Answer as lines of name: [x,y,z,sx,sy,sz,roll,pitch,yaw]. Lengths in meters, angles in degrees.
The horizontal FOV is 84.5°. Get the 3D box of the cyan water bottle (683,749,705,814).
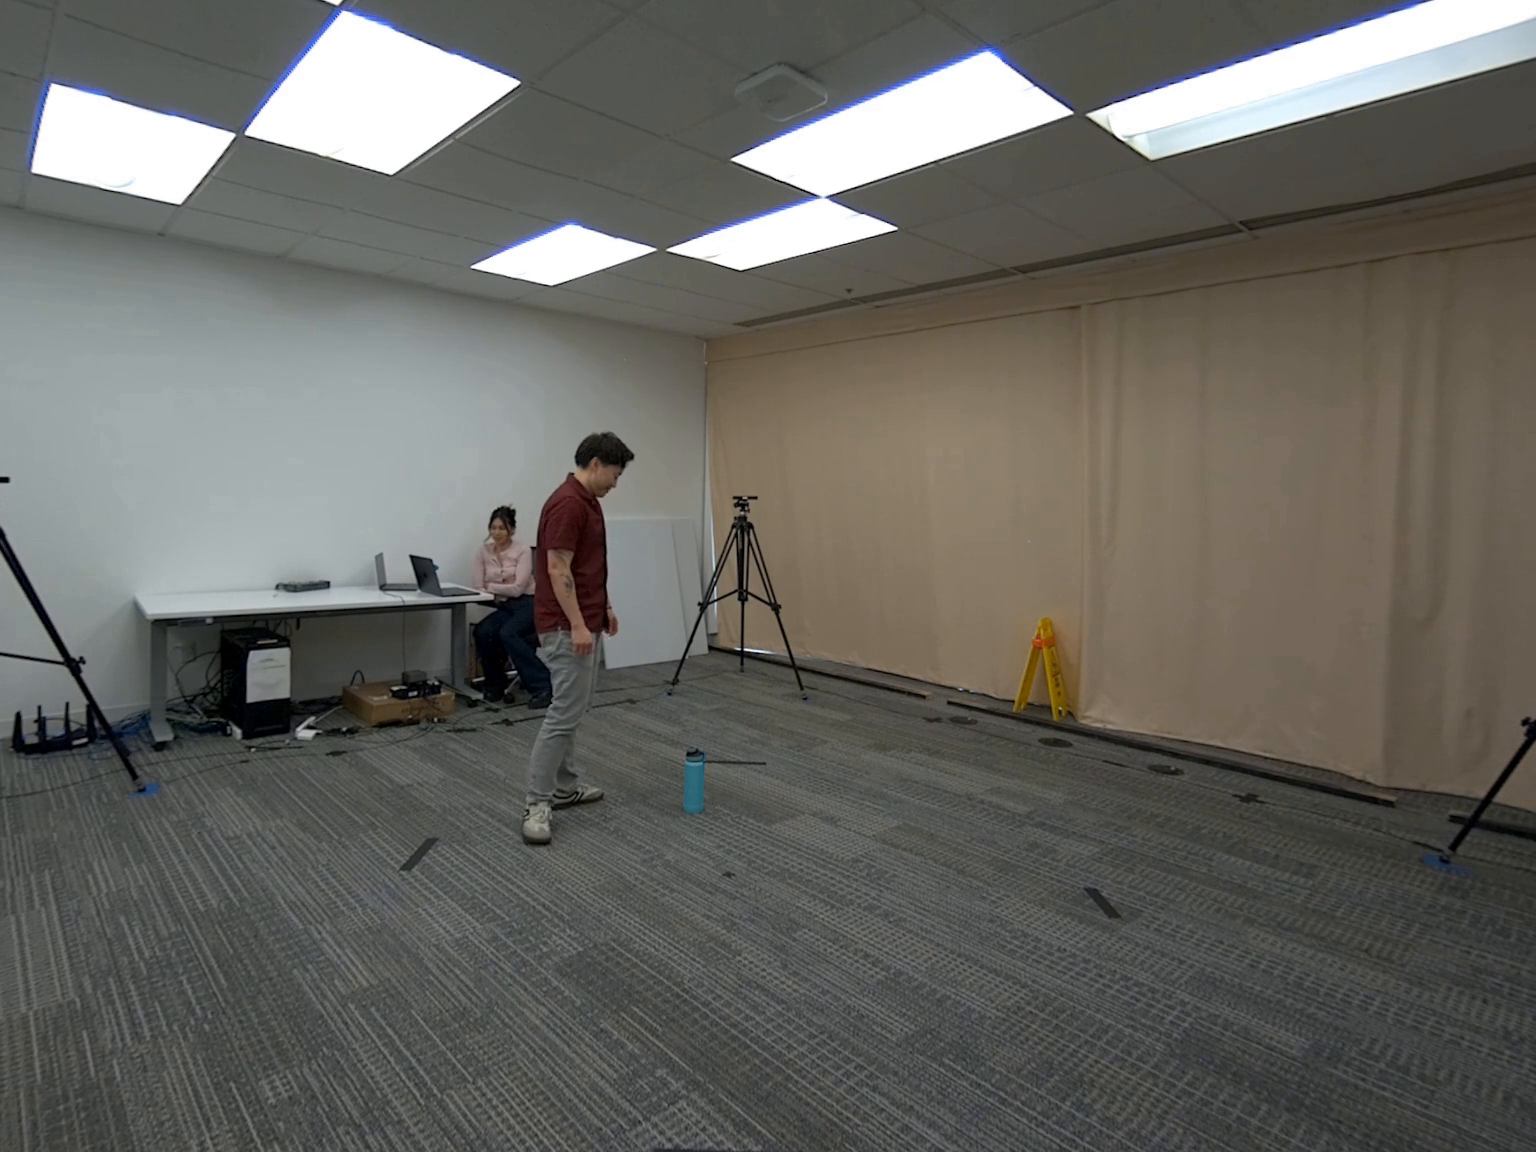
cyan water bottle: [-0.343,0.902,3.743,0.092,0.283,0.092,4,2,-2]
